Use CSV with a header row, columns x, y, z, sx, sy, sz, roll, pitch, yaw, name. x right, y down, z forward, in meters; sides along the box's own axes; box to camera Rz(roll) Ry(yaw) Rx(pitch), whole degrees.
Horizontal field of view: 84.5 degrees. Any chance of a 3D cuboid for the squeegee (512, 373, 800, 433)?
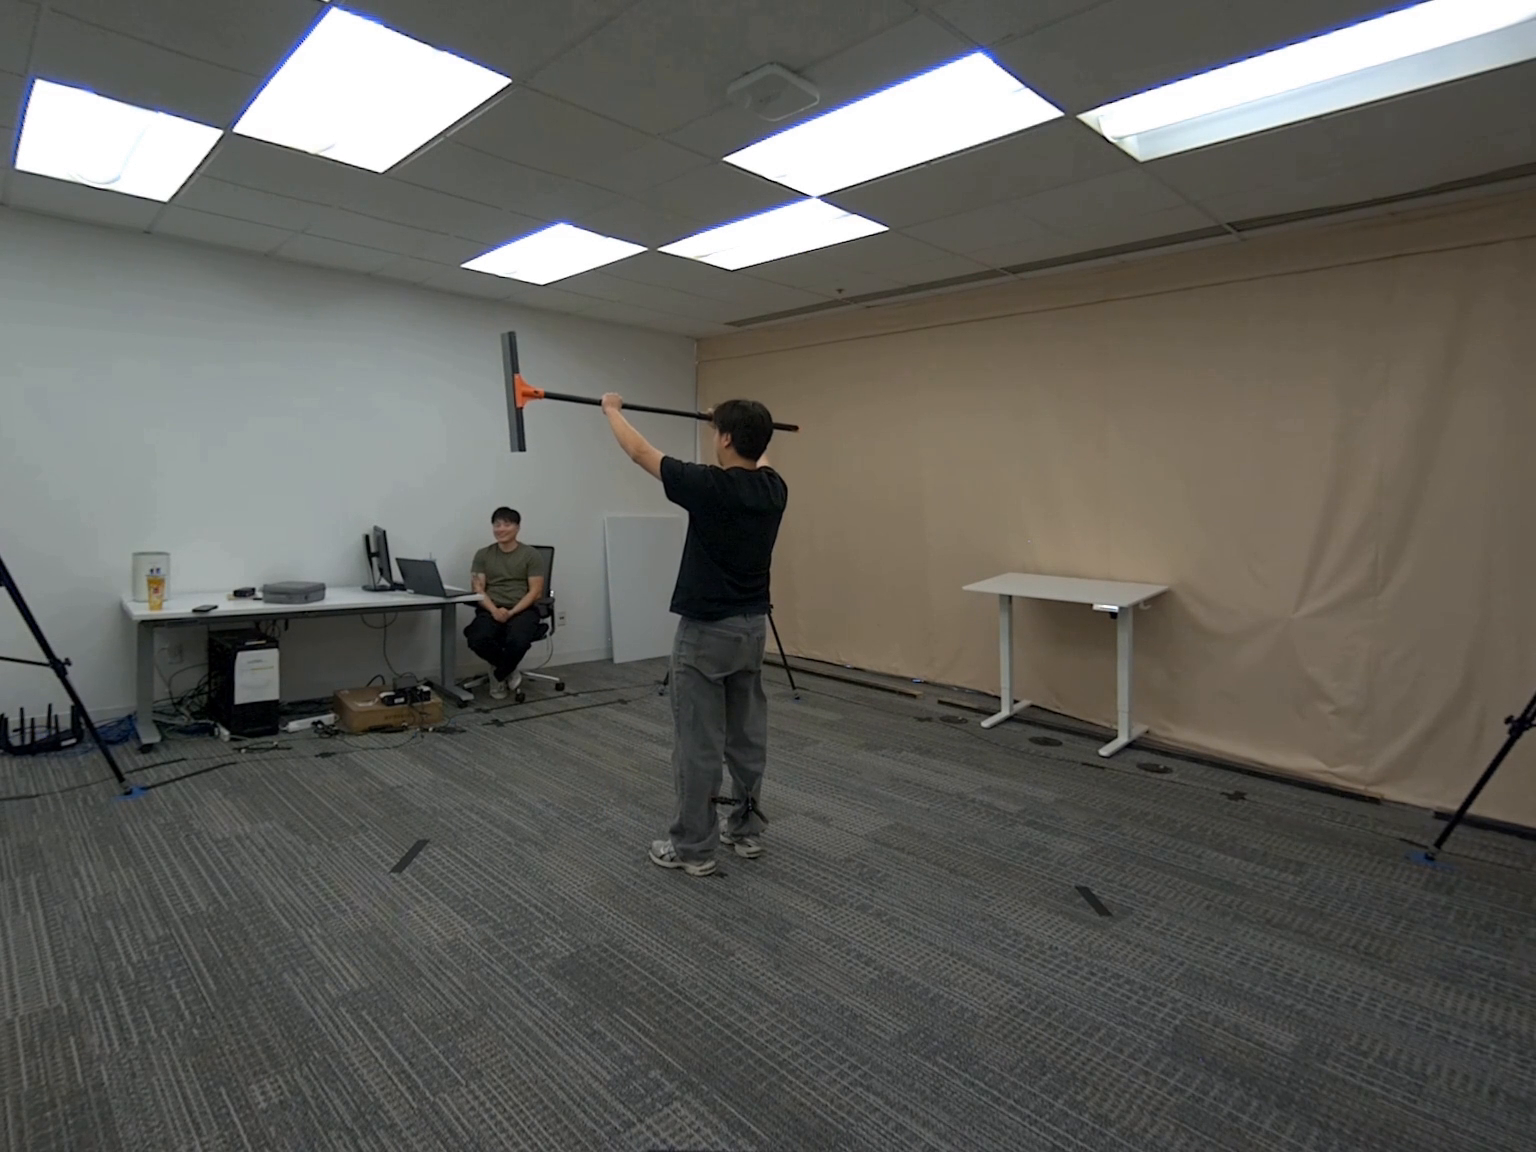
x,y,z,sx,sy,sz,roll,pitch,yaw,name
-0.387,-0.670,3.486,1.502,0.440,0.054,-2,-10,-45,squeegee
